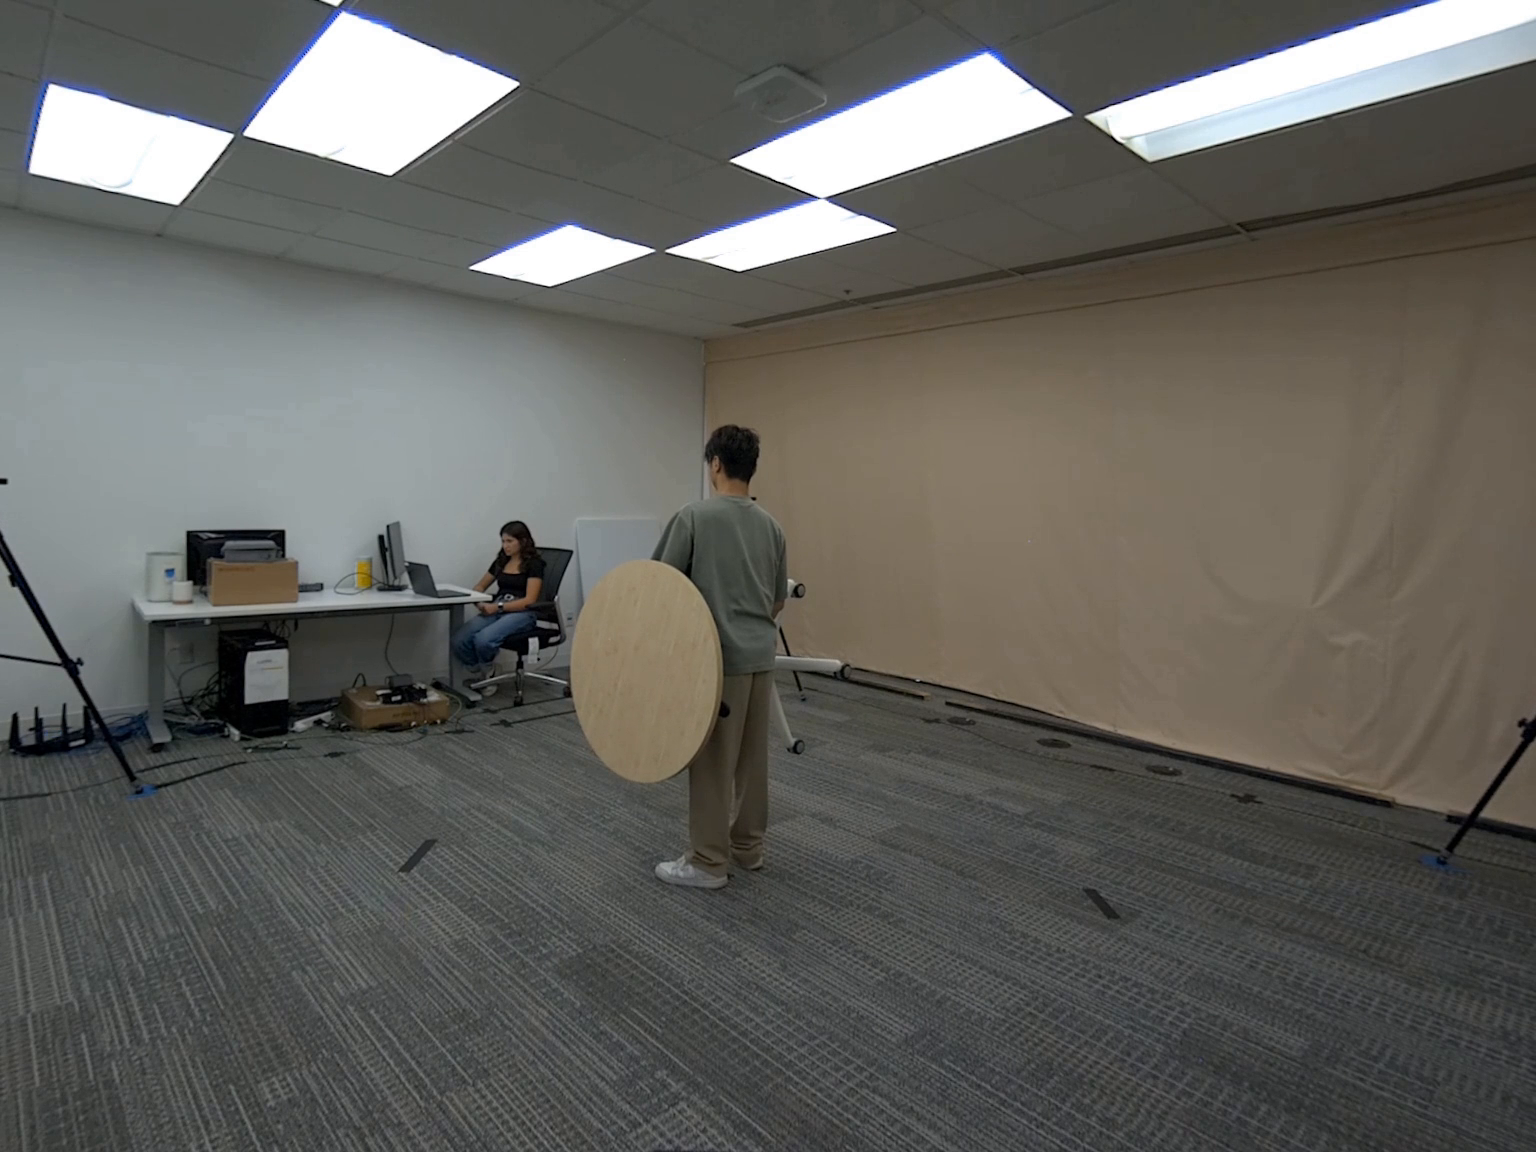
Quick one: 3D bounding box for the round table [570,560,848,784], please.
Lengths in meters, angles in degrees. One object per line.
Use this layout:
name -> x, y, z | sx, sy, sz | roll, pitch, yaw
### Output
round table -> -0.209, 0.347, 3.224 | 0.805, 0.785, 0.766 | 5, -1, 41
